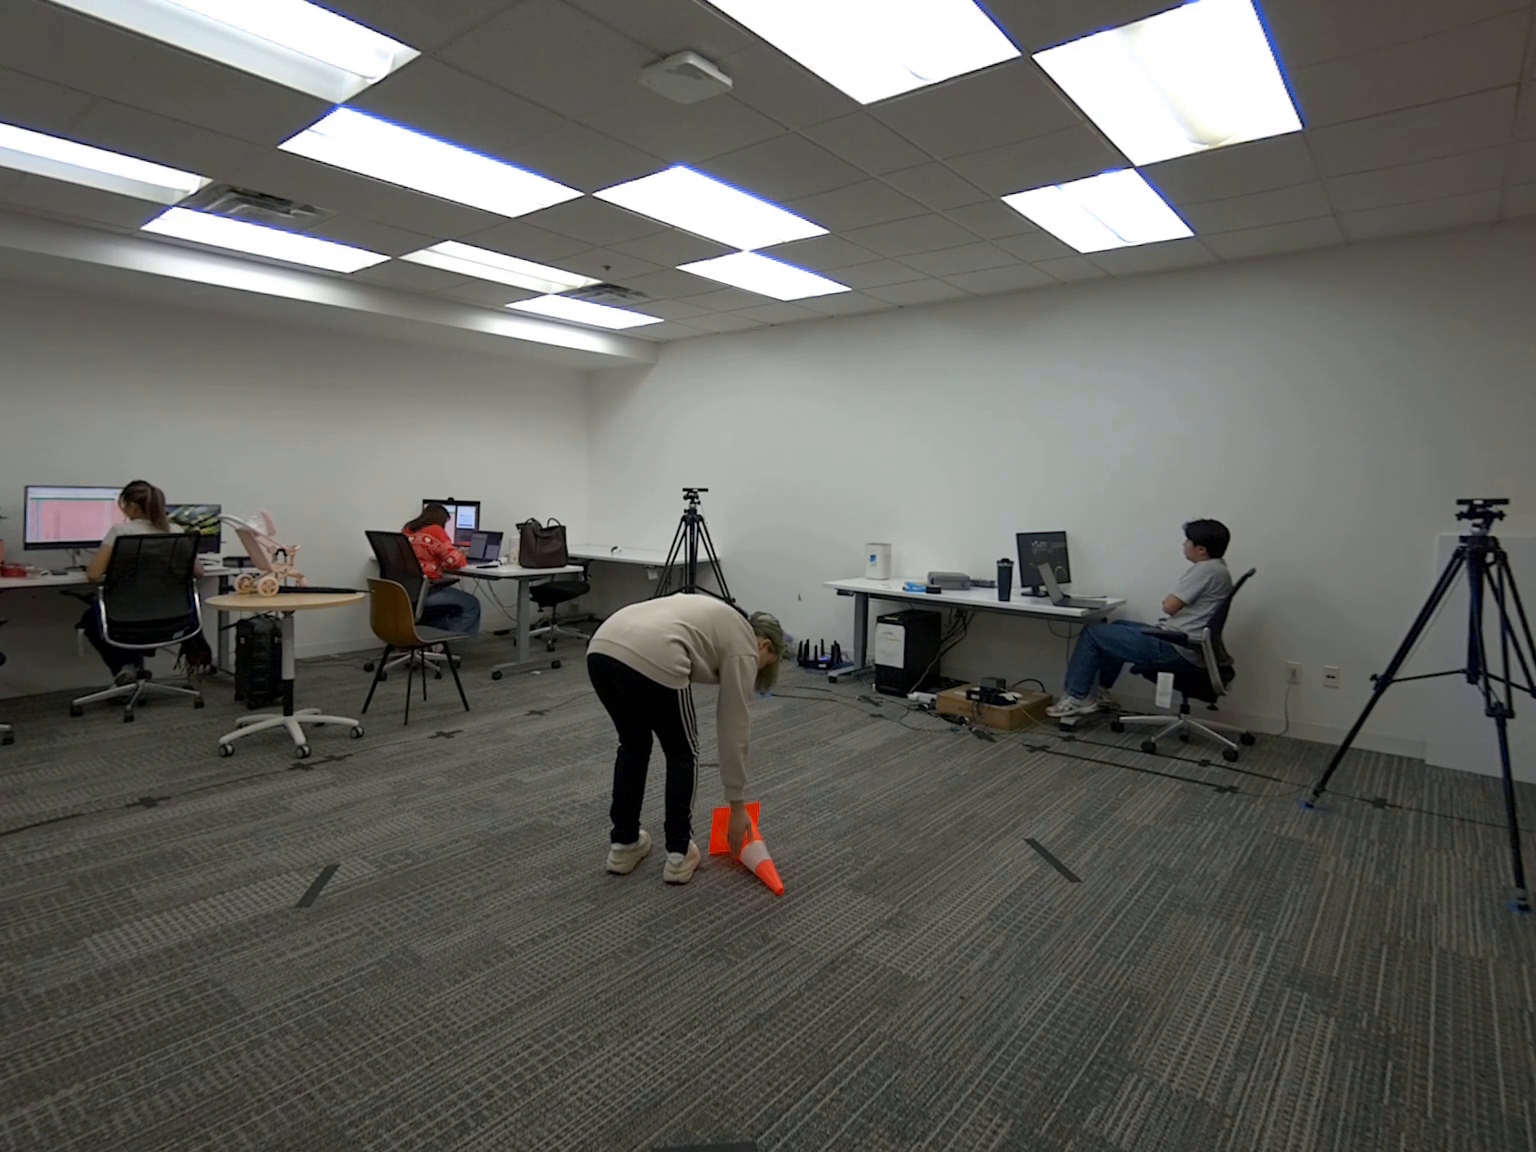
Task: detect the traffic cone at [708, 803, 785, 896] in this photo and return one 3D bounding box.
[{"bbox_3d":[-0.049,1.024,3.085,0.198,0.203,0.398,3,16,-27],"label":"traffic cone"}]
